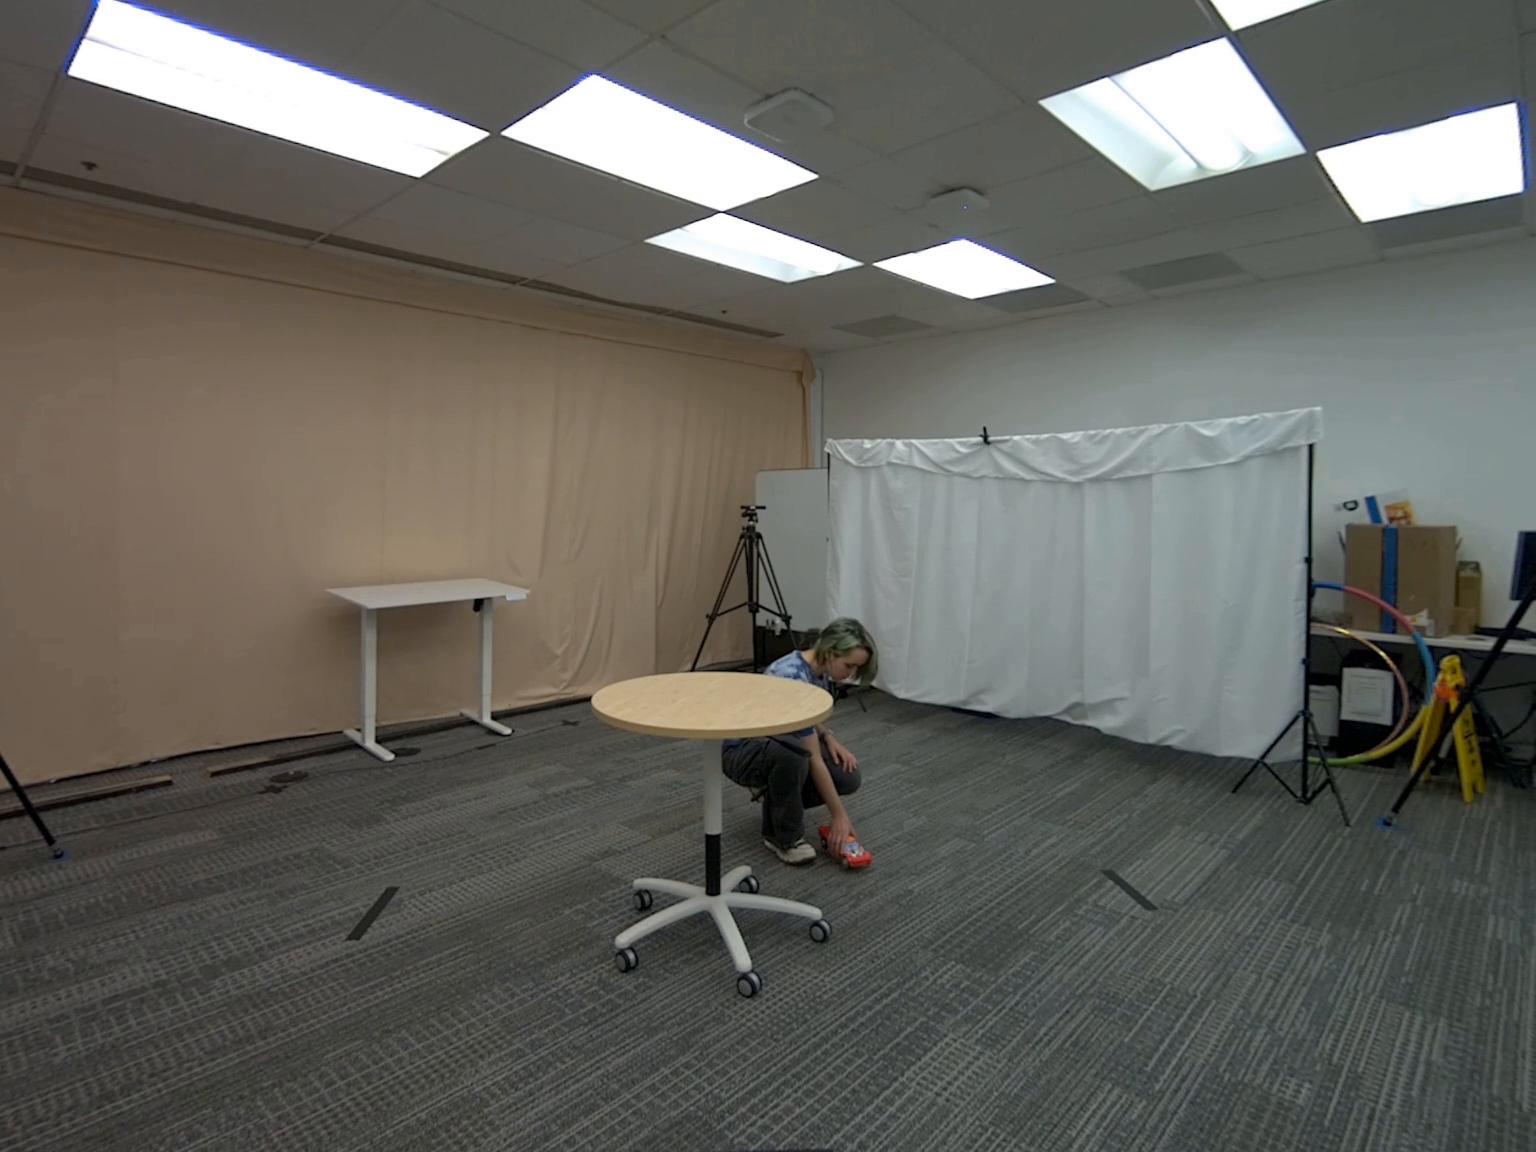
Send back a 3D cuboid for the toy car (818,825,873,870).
[{"bbox_3d":[0.297,1.047,3.294,0.127,0.082,0.263,-1,22,-25],"label":"toy car"}]
